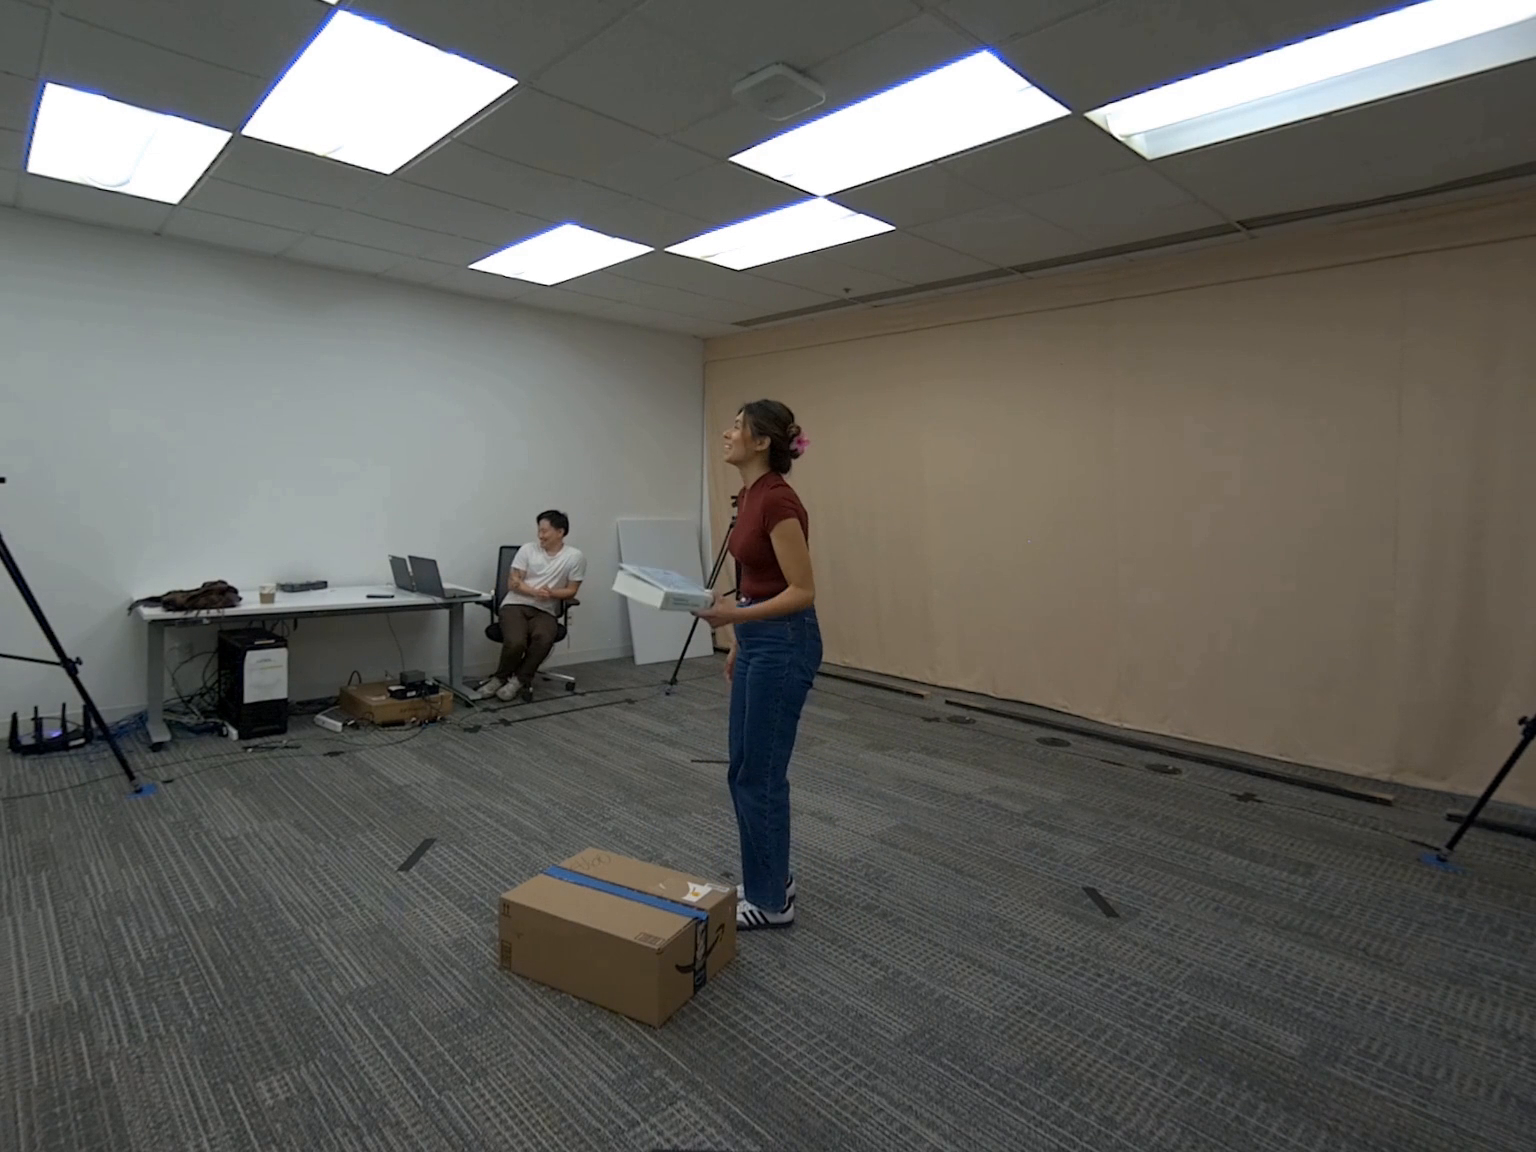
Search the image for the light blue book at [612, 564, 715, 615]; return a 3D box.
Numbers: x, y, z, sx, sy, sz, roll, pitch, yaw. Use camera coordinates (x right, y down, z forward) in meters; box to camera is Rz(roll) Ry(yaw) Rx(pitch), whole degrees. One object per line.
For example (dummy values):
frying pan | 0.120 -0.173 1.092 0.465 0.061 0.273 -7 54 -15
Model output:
light blue book | -0.298 0.048 2.411 0.197 0.059 0.254 23 9 32
